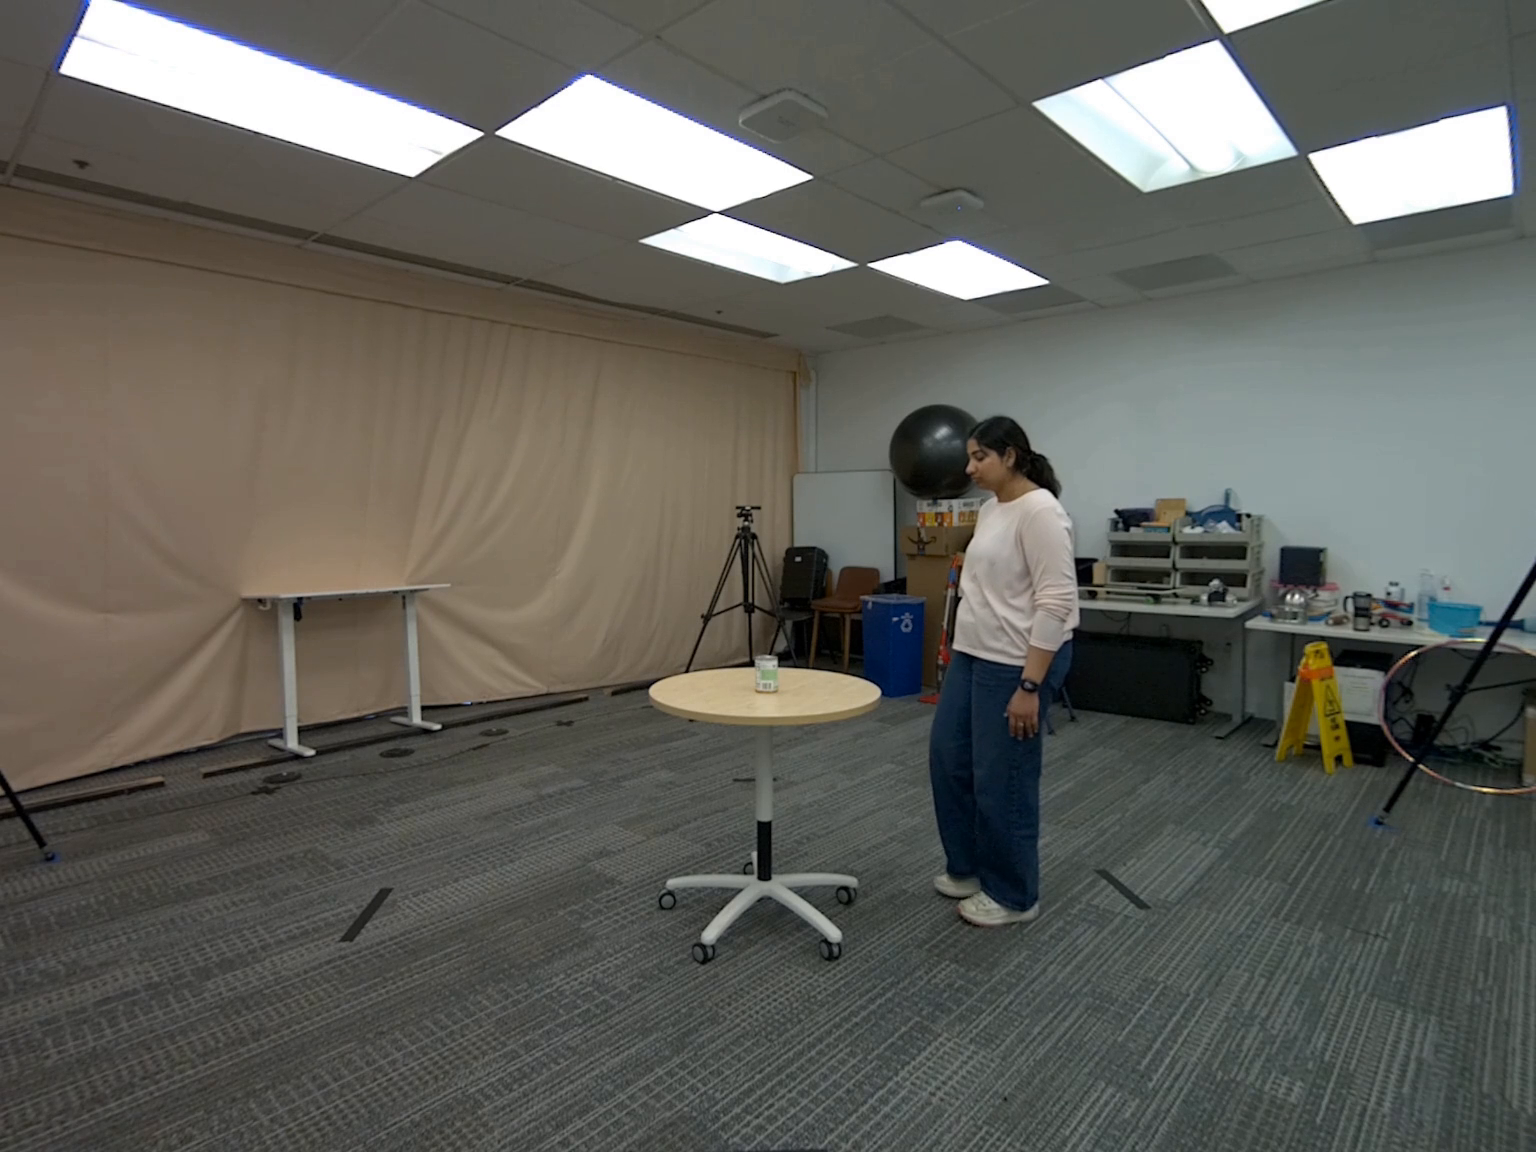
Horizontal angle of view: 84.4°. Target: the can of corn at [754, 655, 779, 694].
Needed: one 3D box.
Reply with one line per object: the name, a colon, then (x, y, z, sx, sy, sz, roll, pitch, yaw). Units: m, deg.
can of corn: (0.002, 0.322, 2.764, 0.074, 0.111, 0.074, 0, 2, -2)
